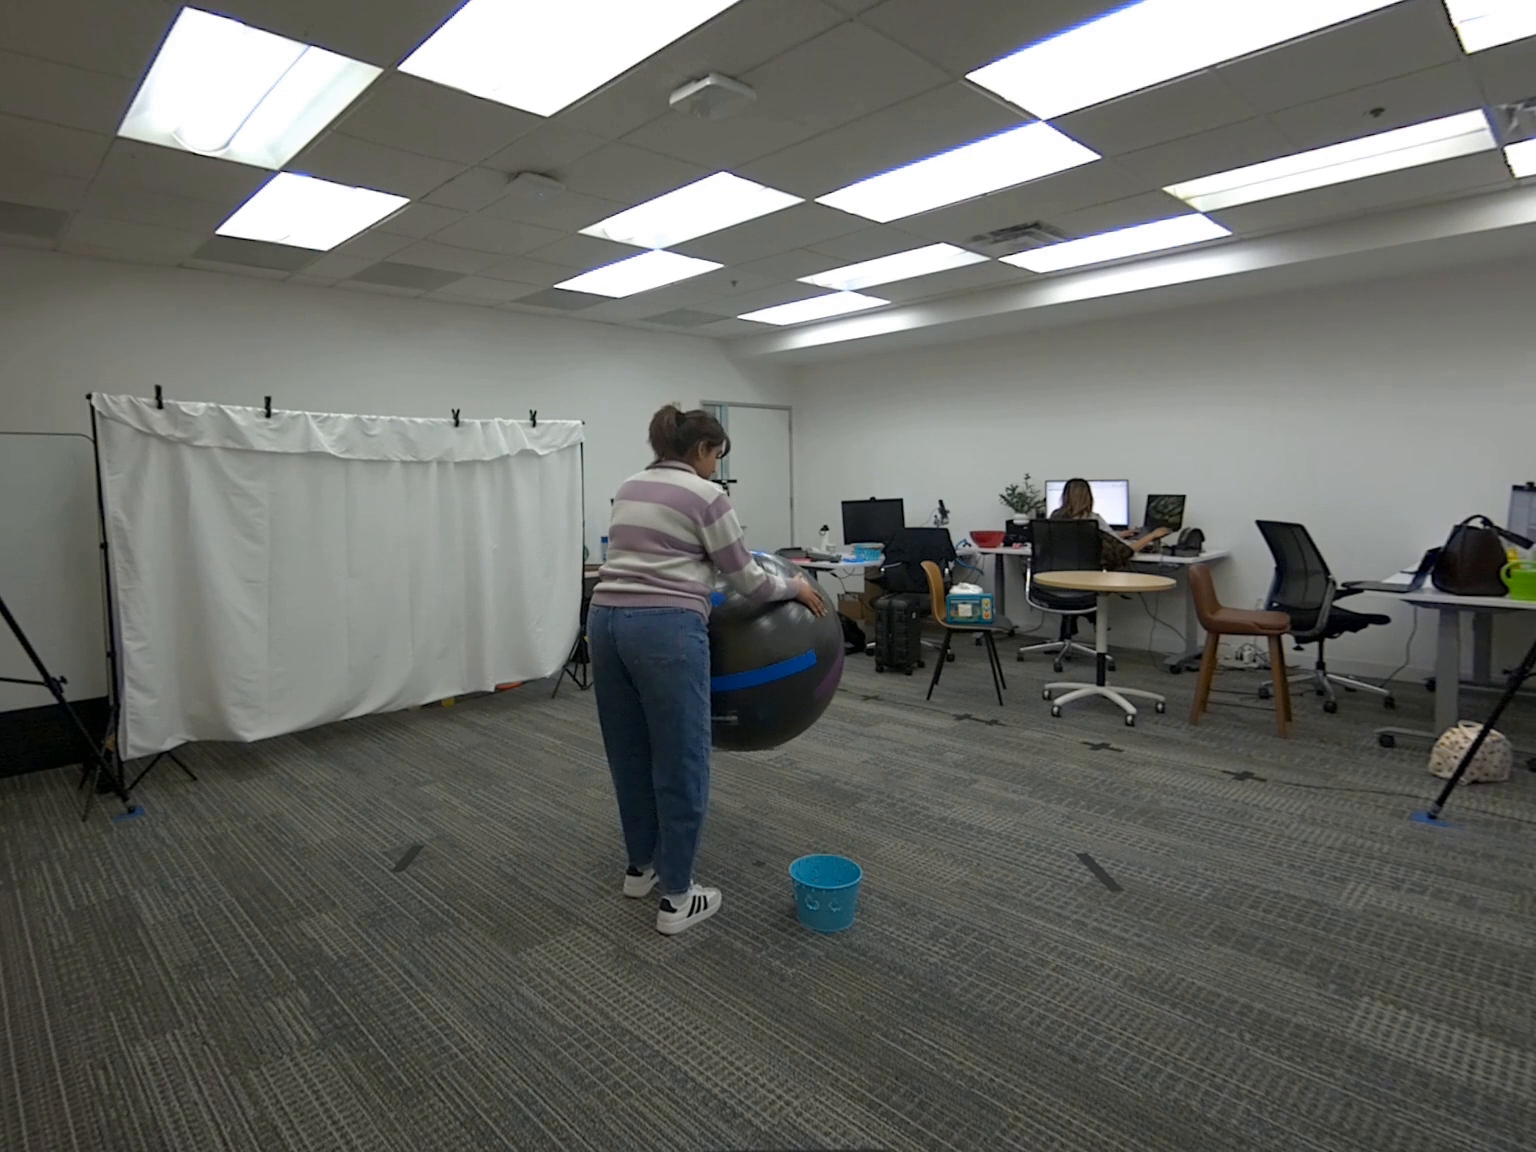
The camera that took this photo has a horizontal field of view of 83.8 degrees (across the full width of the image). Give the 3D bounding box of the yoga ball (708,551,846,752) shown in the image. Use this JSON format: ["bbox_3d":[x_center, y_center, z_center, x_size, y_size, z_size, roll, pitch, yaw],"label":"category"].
[{"bbox_3d":[-0.089,0.290,3.248,0.757,0.755,0.762,-1,5,-2],"label":"yoga ball"}]
